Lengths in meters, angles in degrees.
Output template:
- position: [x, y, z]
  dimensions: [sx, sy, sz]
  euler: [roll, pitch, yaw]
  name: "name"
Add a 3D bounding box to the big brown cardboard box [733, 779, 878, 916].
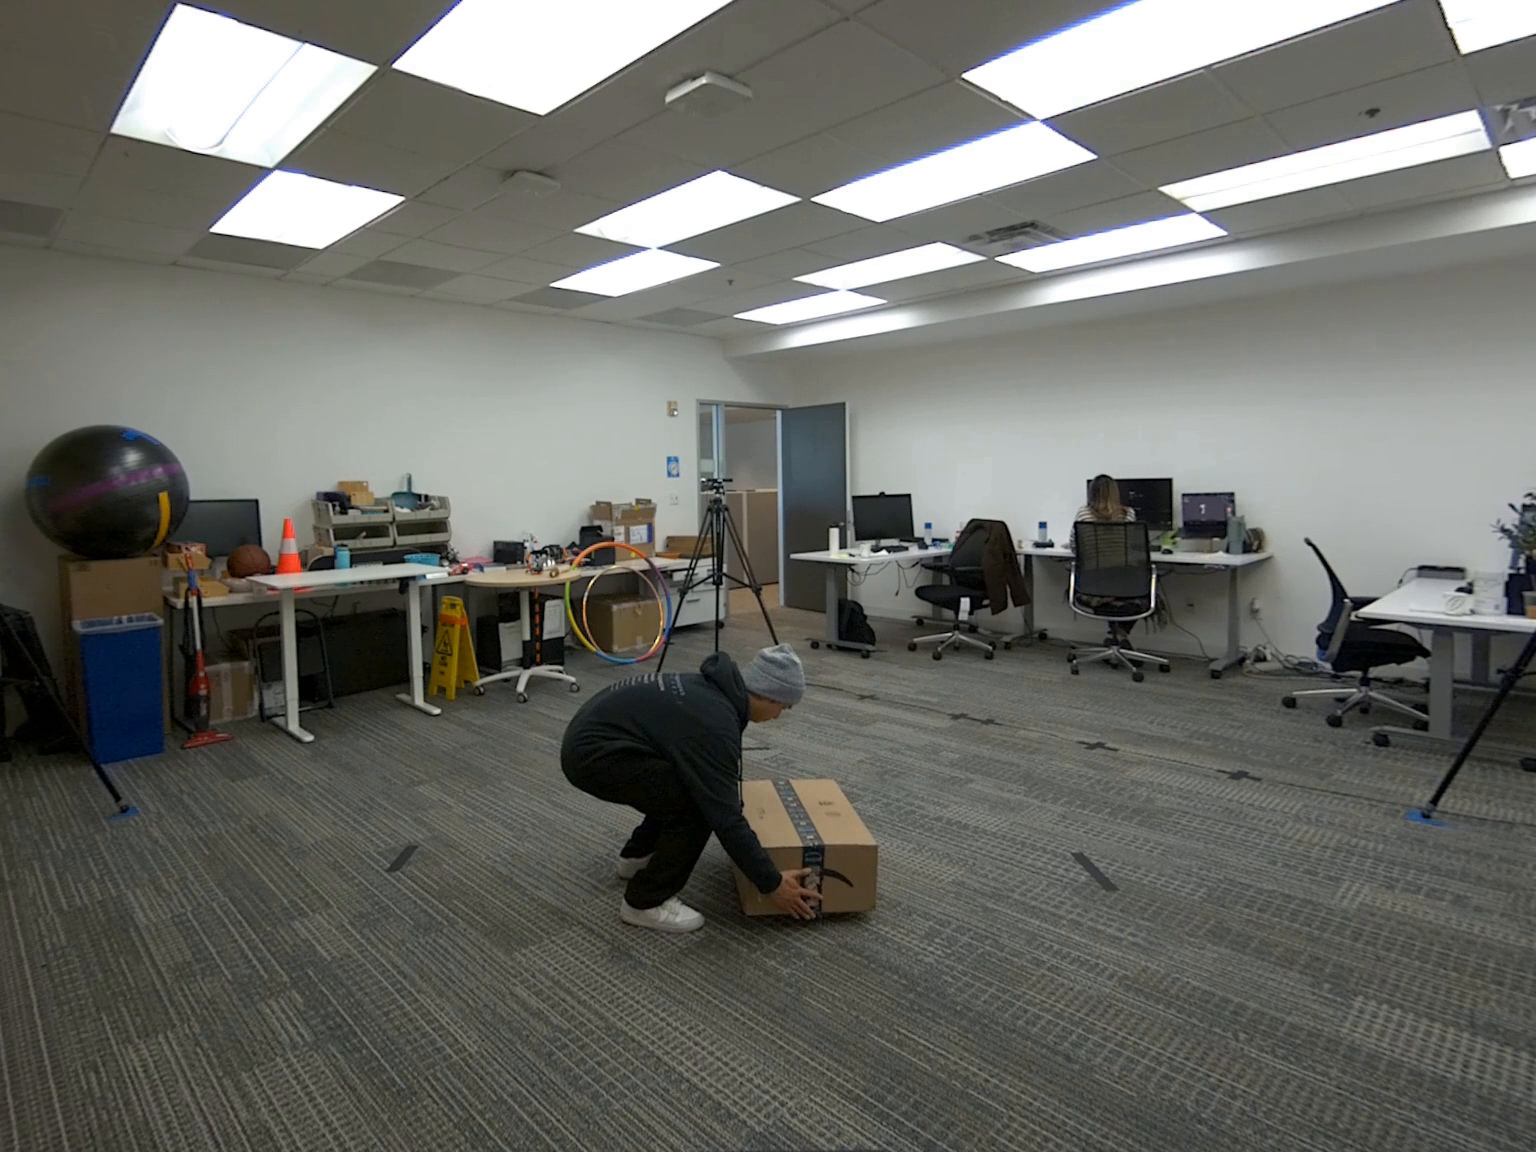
- position: [0.093, 0.902, 2.912]
  dimensions: [0.414, 0.232, 0.597]
  euler: [0, 8, -9]
  name: "big brown cardboard box"
